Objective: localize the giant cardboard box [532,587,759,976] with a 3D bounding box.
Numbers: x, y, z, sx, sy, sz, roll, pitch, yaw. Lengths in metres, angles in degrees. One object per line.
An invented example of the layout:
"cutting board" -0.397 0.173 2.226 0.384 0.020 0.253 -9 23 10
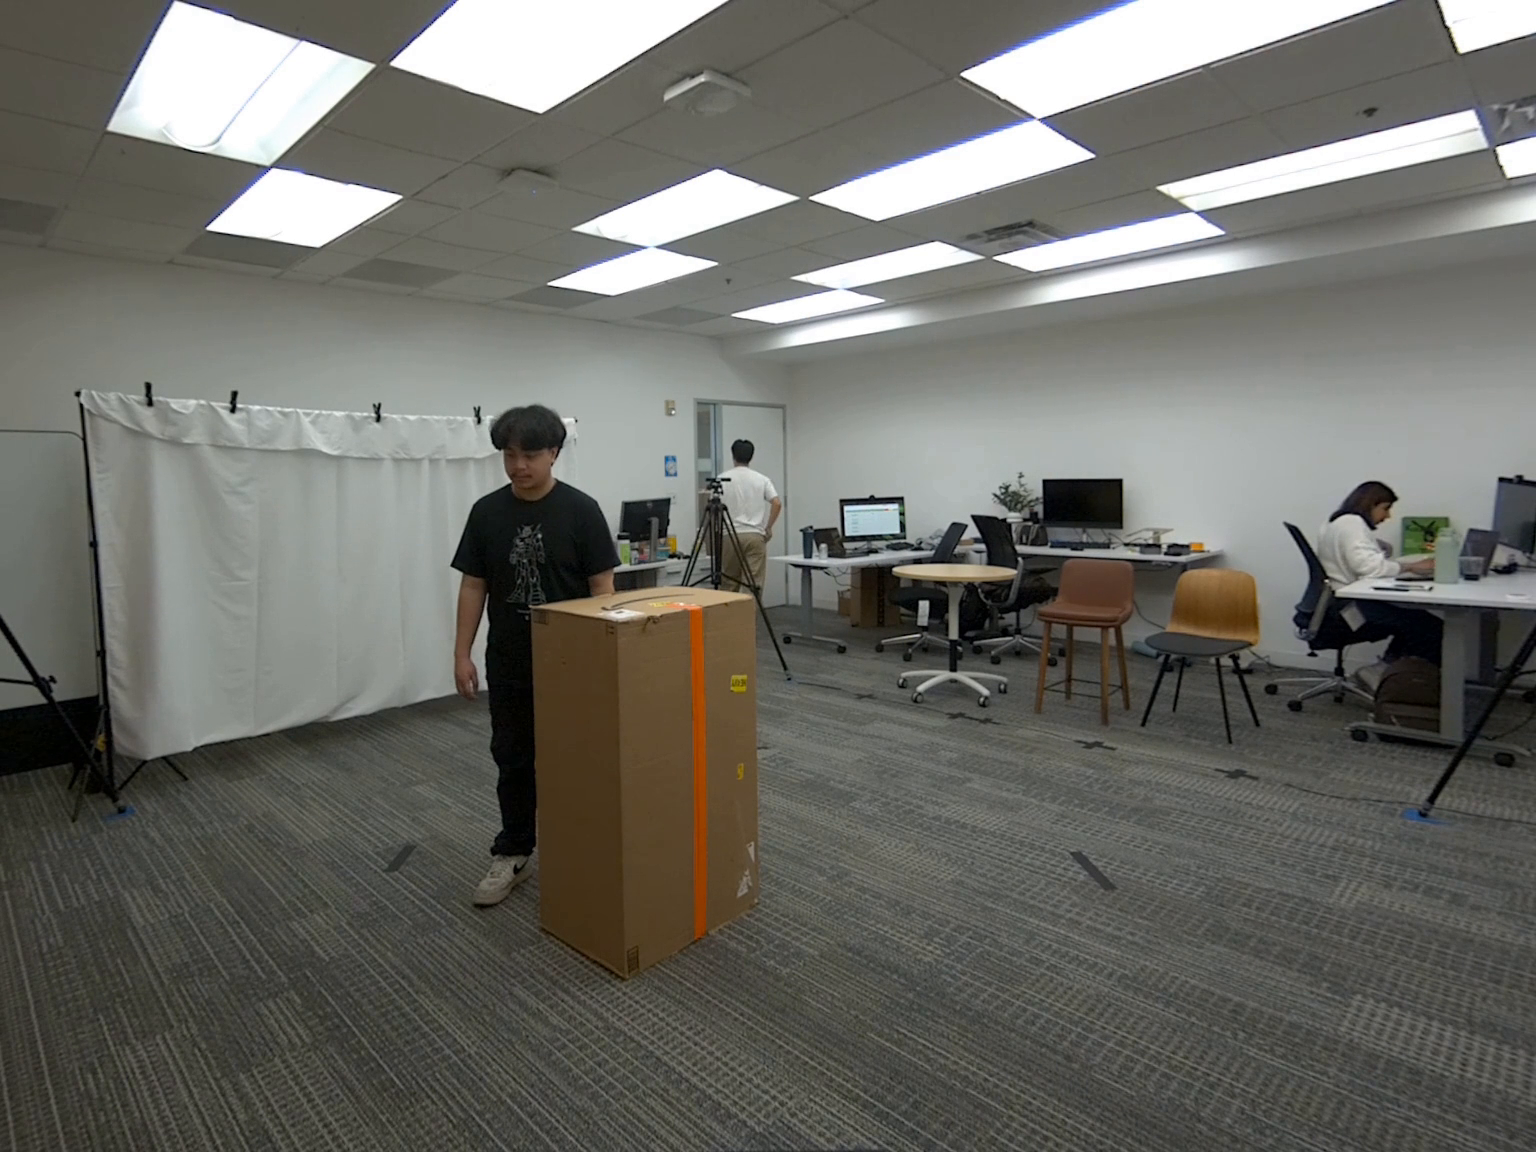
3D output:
"giant cardboard box" -0.374 0.585 2.705 0.461 1.023 0.568 4 6 43
